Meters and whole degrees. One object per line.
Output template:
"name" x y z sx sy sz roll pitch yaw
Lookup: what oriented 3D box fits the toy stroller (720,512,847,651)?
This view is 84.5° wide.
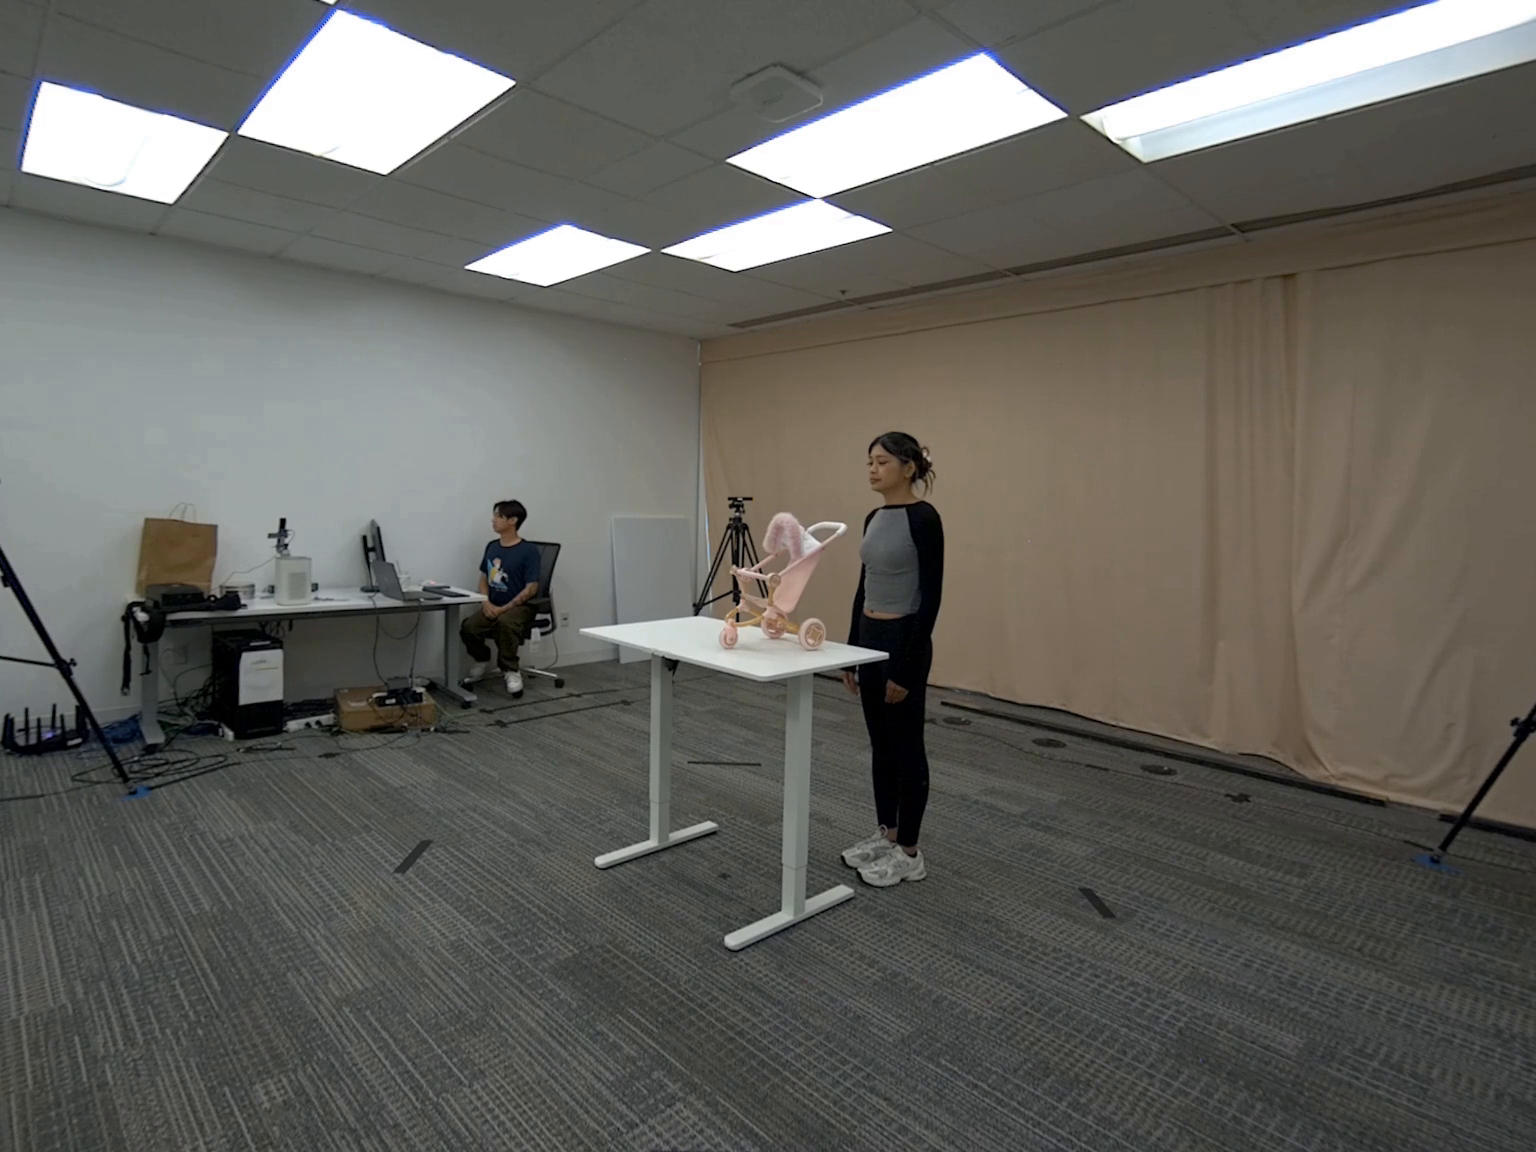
"toy stroller" 0.033 0.020 2.931 0.334 0.536 0.287 17 -3 -25
